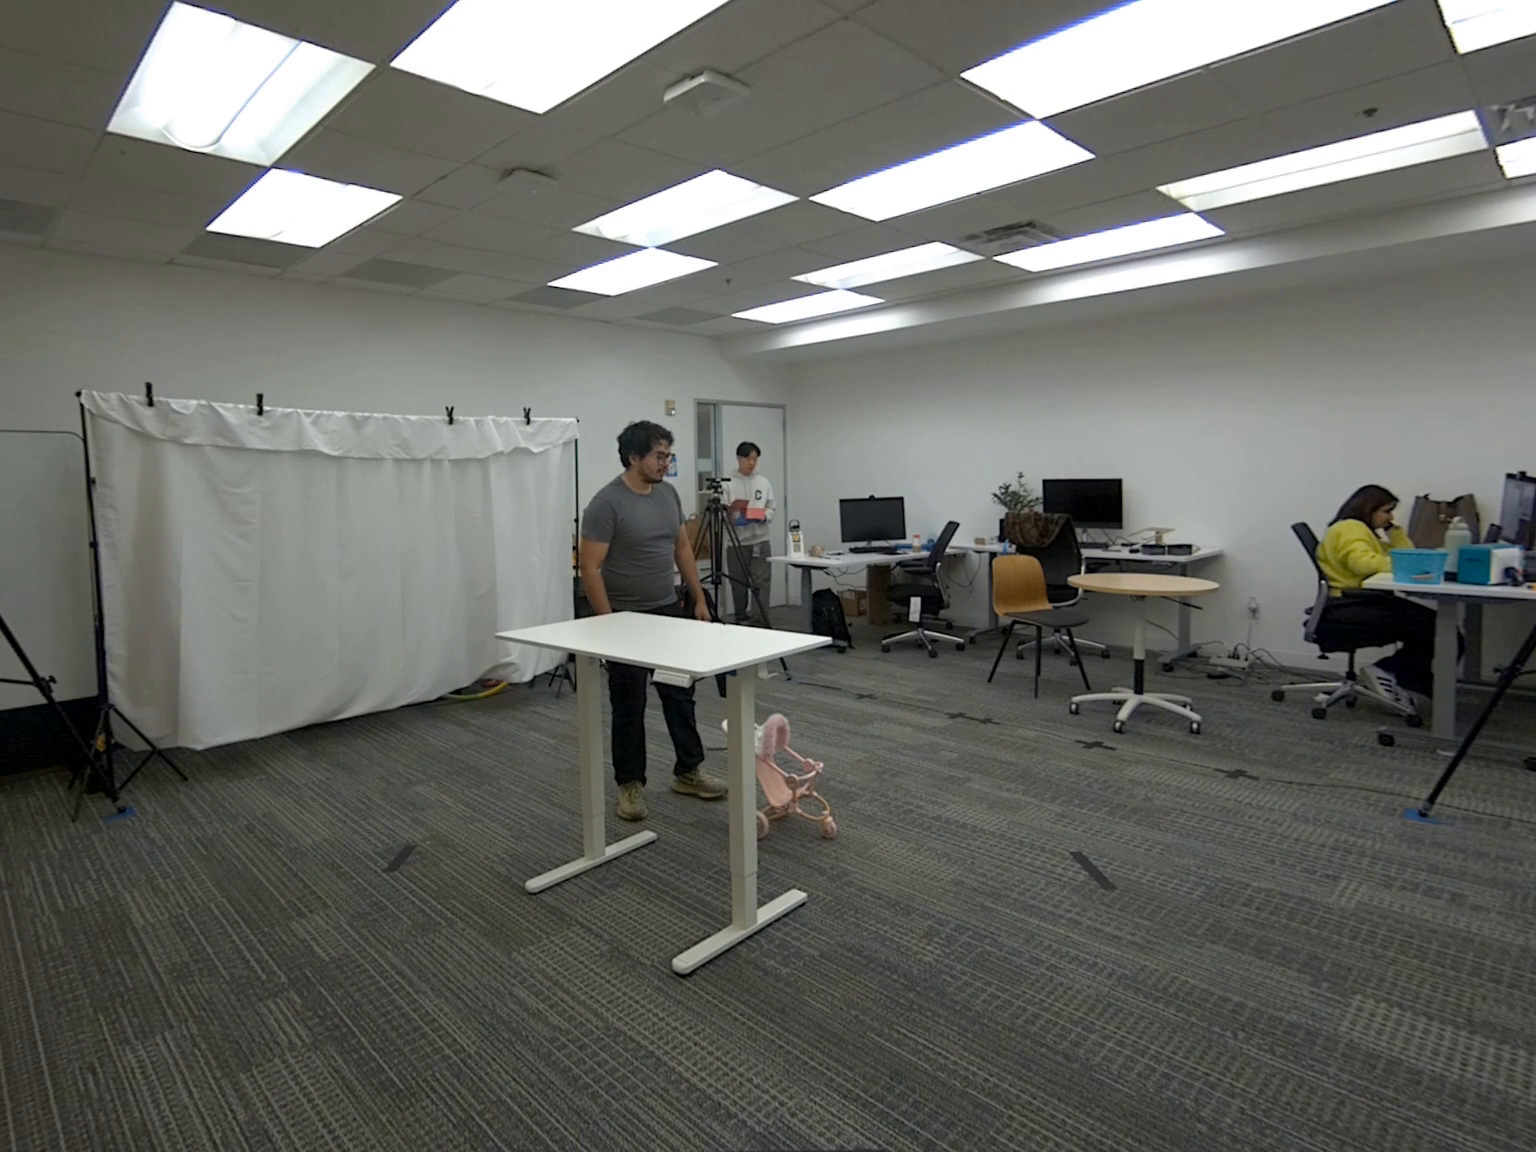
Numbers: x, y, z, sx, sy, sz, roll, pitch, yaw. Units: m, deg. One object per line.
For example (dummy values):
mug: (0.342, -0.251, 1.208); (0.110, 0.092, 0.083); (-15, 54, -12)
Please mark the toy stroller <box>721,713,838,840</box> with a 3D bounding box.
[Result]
toy stroller: (0.057, 0.786, 3.384); (0.347, 0.537, 0.275); (-18, -4, 30)
